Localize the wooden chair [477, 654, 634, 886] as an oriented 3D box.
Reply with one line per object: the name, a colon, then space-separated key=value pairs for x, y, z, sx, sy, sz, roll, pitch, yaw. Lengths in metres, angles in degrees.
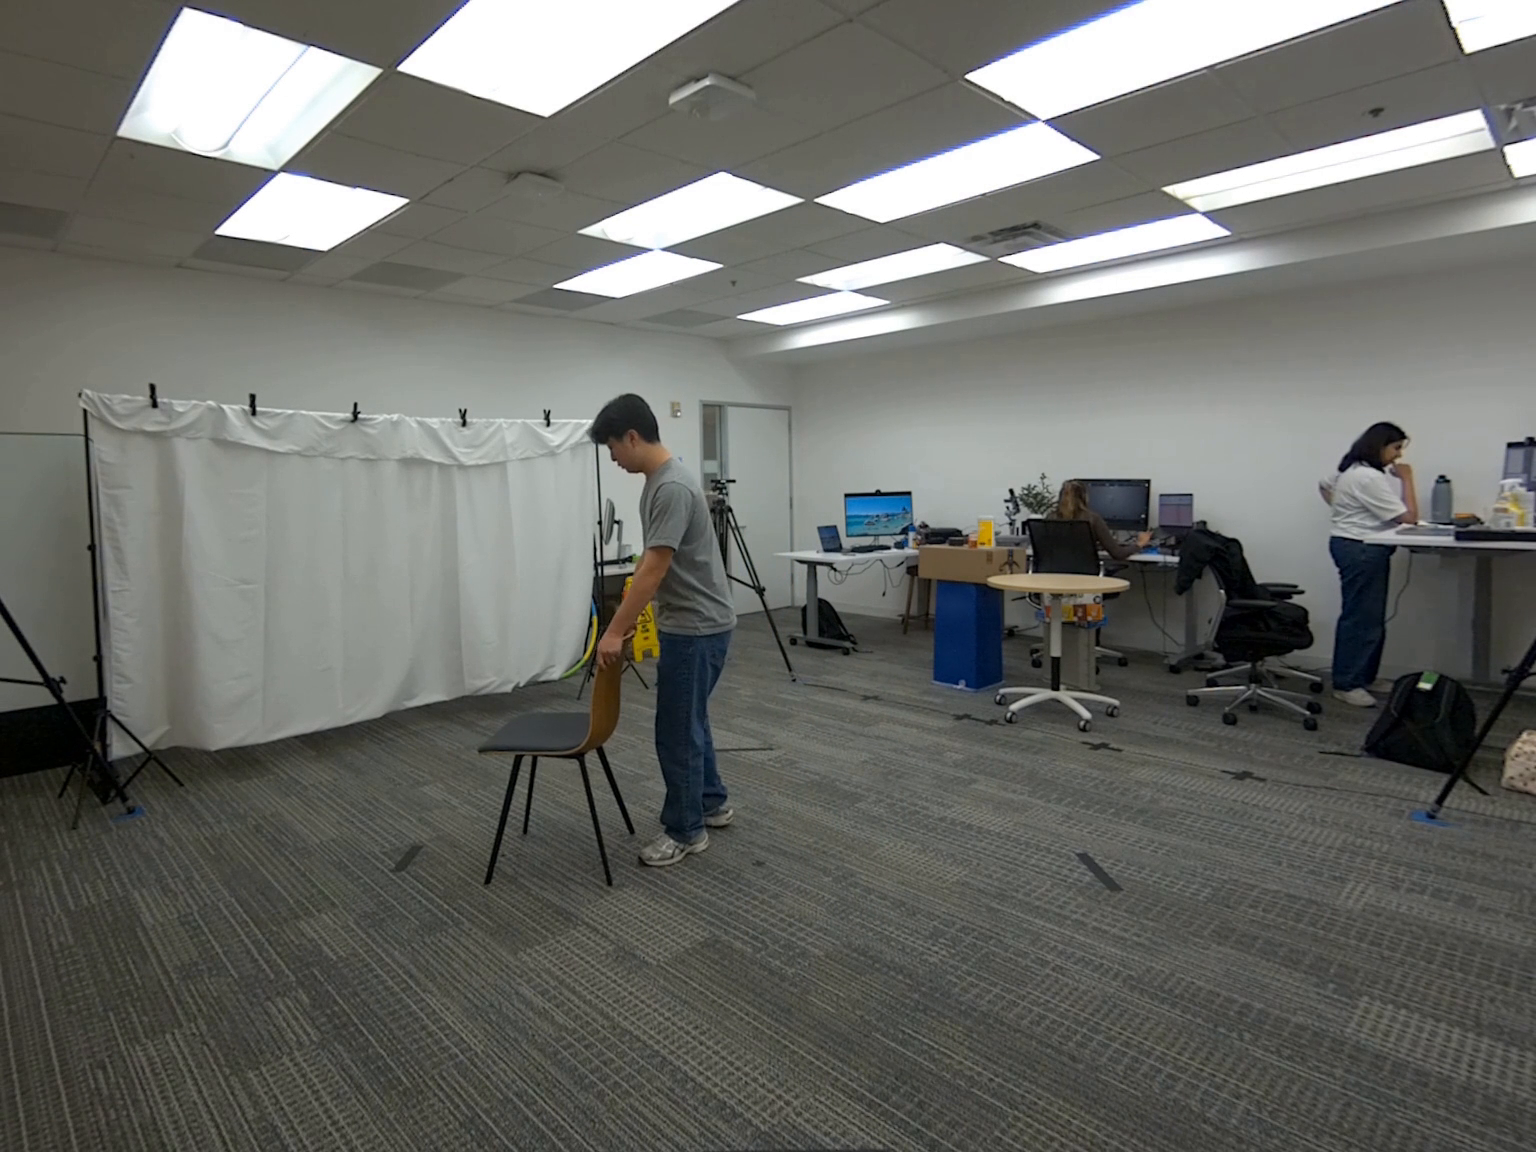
wooden chair: x=-0.776 y=0.632 z=3.147 sx=0.524 sy=0.874 sz=0.479 roll=3 pitch=5 yaw=2
